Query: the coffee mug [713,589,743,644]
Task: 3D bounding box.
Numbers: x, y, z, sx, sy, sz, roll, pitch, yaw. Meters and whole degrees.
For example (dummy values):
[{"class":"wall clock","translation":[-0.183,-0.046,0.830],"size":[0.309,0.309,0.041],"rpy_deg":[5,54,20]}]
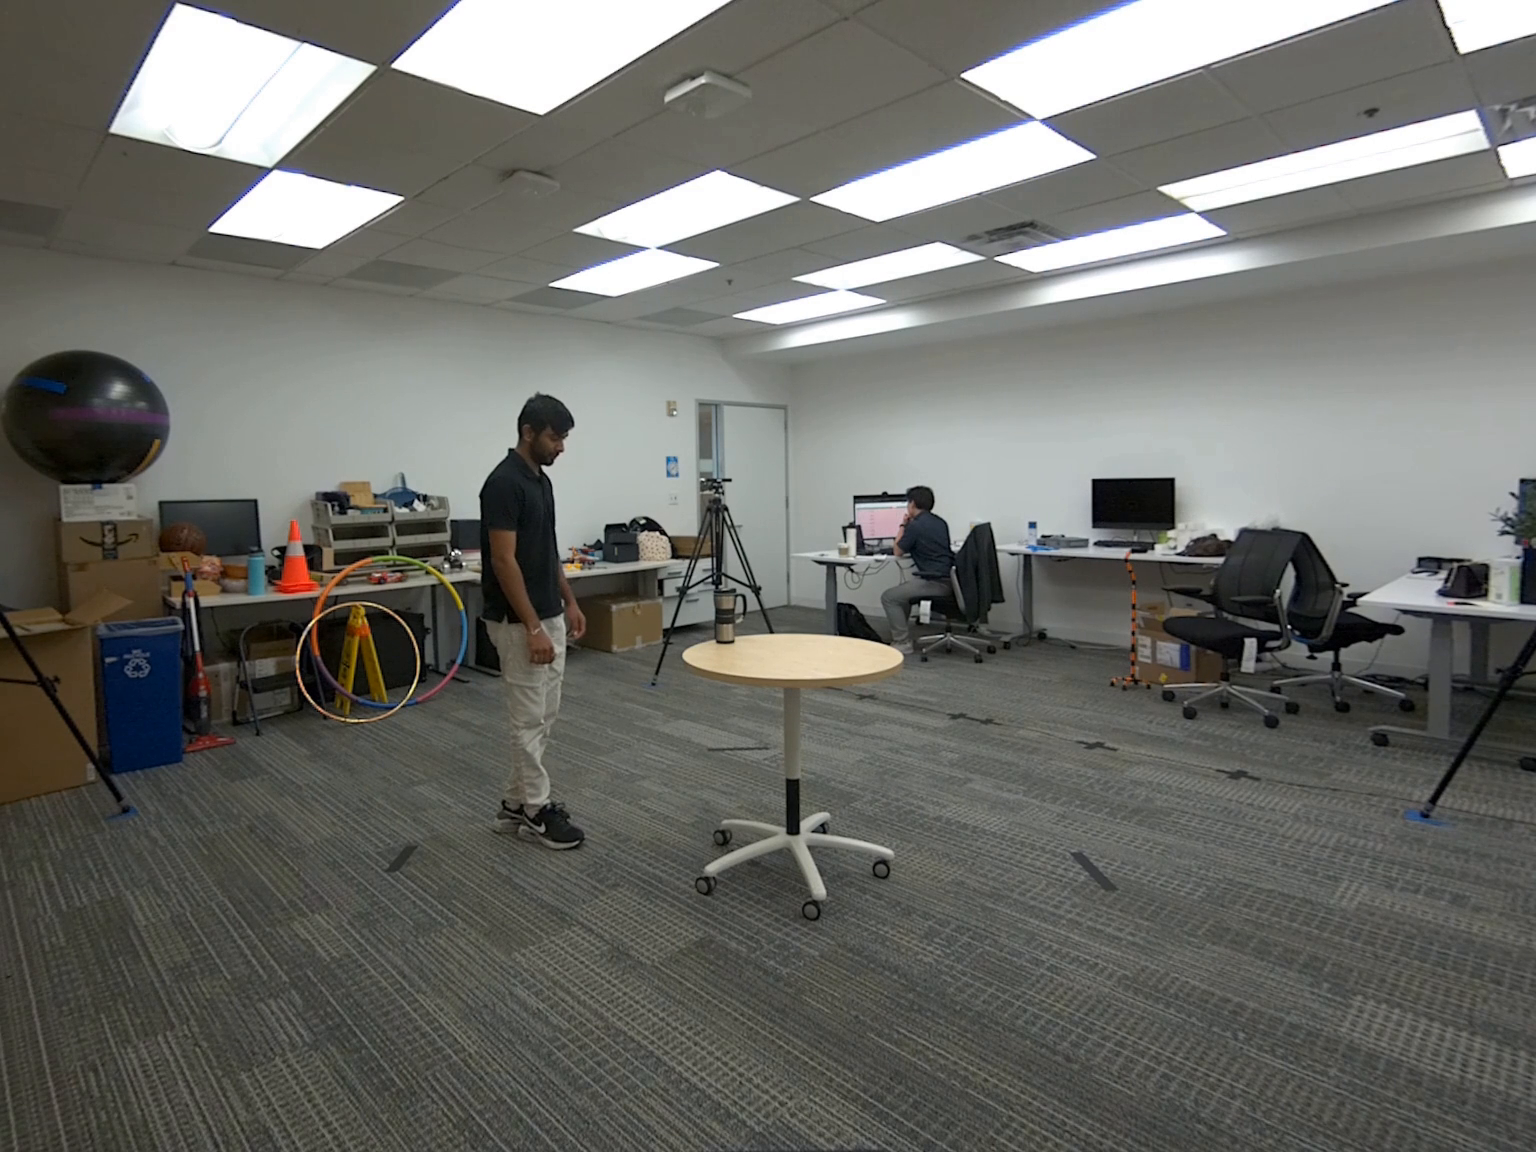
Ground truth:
[{"class":"coffee mug","translation":[-0.144,0.151,3.198],"size":[0.124,0.203,0.086],"rpy_deg":[-3,-1,18]}]
